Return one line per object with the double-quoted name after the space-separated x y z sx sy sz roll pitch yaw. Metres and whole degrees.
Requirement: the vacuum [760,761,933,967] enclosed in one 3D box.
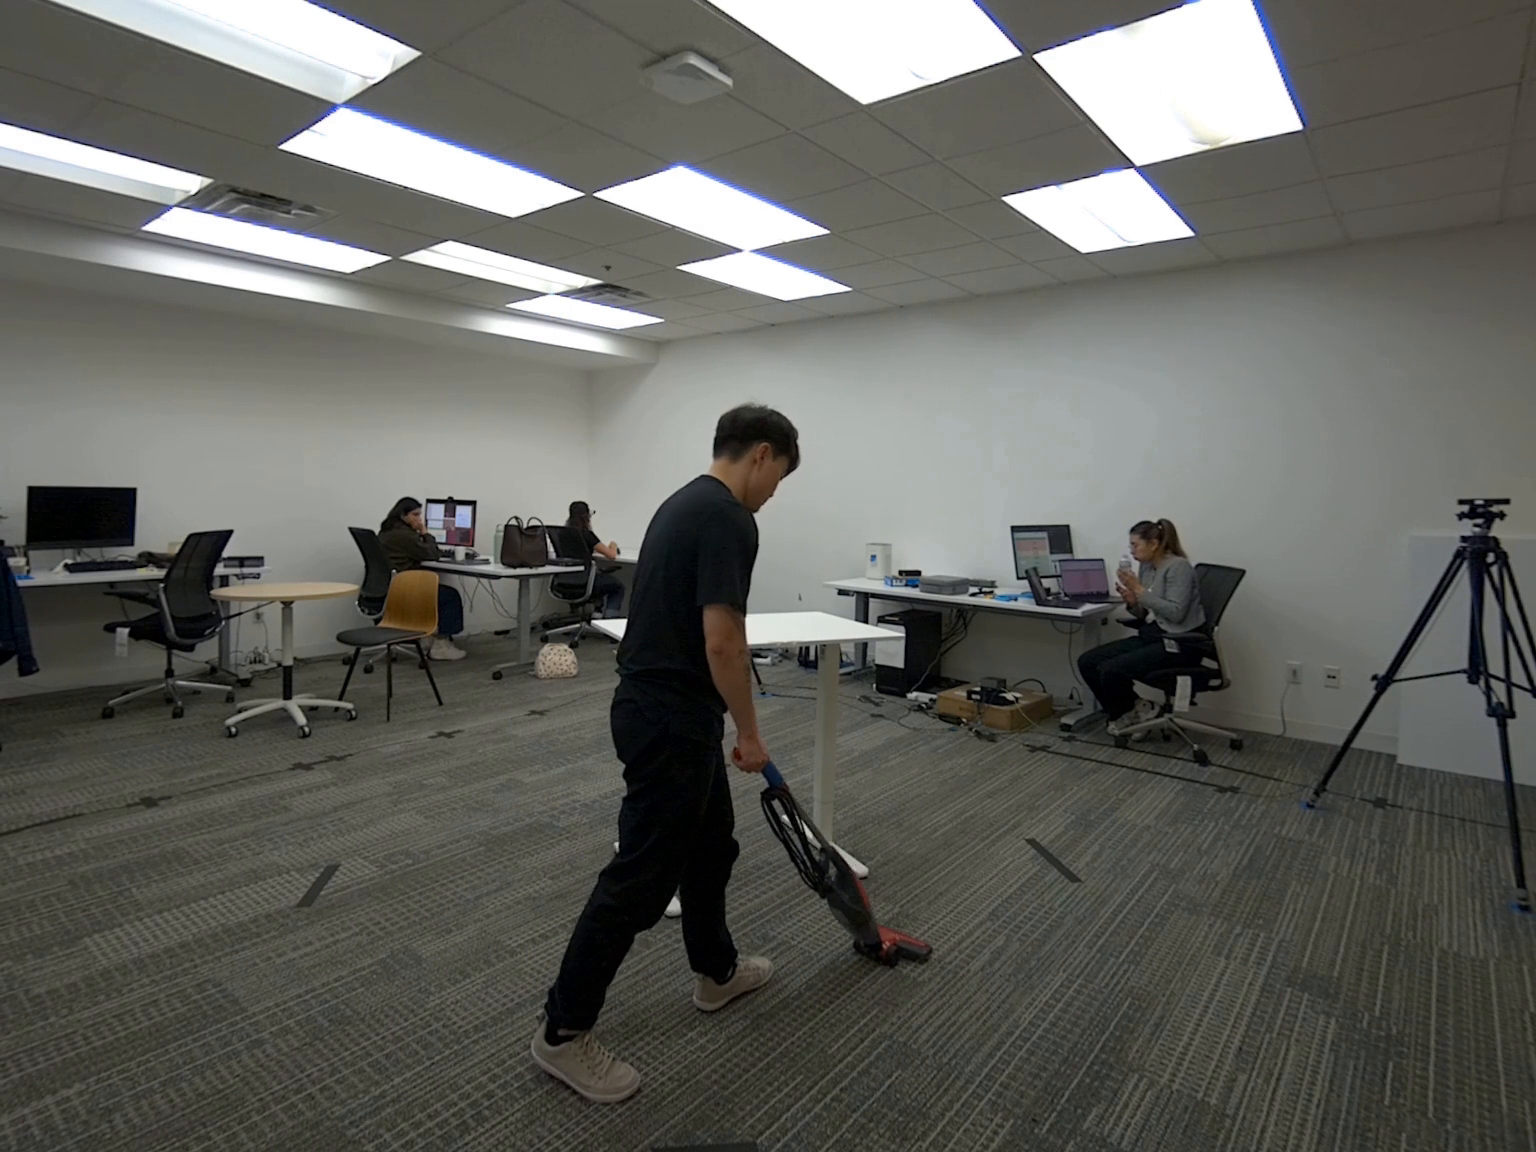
0.143 0.772 2.293 0.261 1.009 0.145 6 50 39 "vacuum"
